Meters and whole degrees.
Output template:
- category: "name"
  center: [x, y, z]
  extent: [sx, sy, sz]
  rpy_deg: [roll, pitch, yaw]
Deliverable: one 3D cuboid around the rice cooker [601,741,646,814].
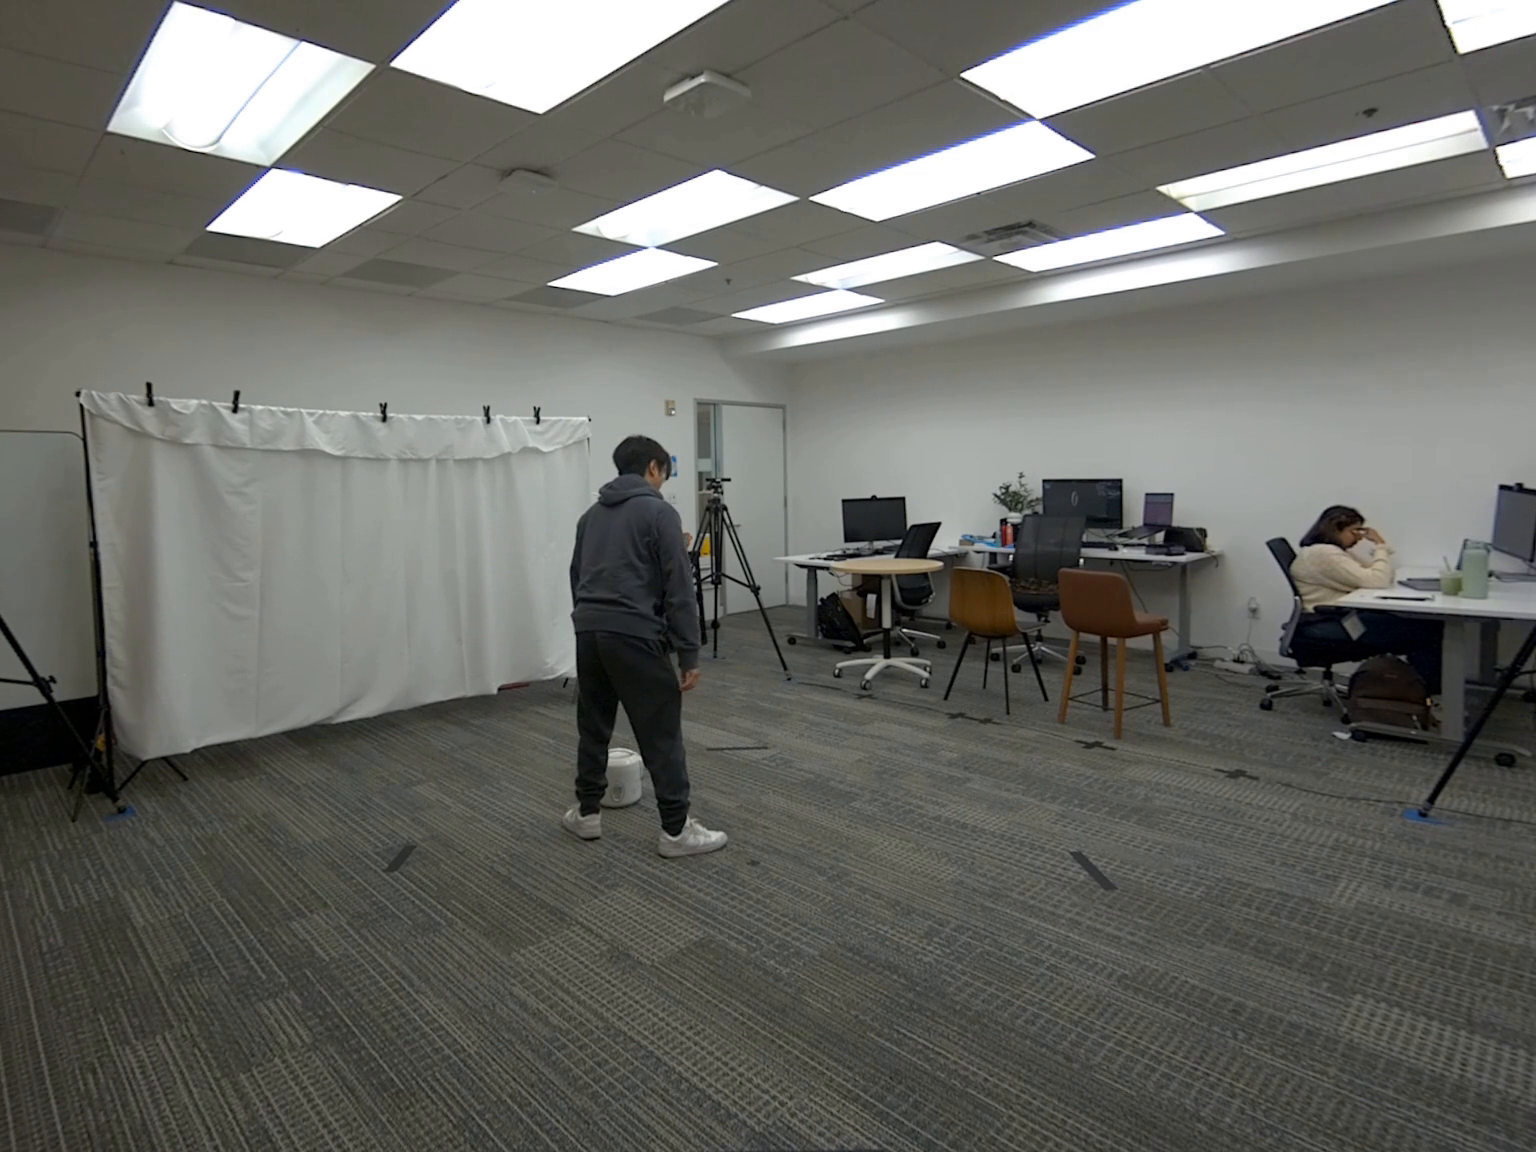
- category: "rice cooker"
  center: [-0.648, 0.870, 3.731]
  extent: [0.219, 0.232, 0.220]
  rpy_deg: [-1, 4, -7]
